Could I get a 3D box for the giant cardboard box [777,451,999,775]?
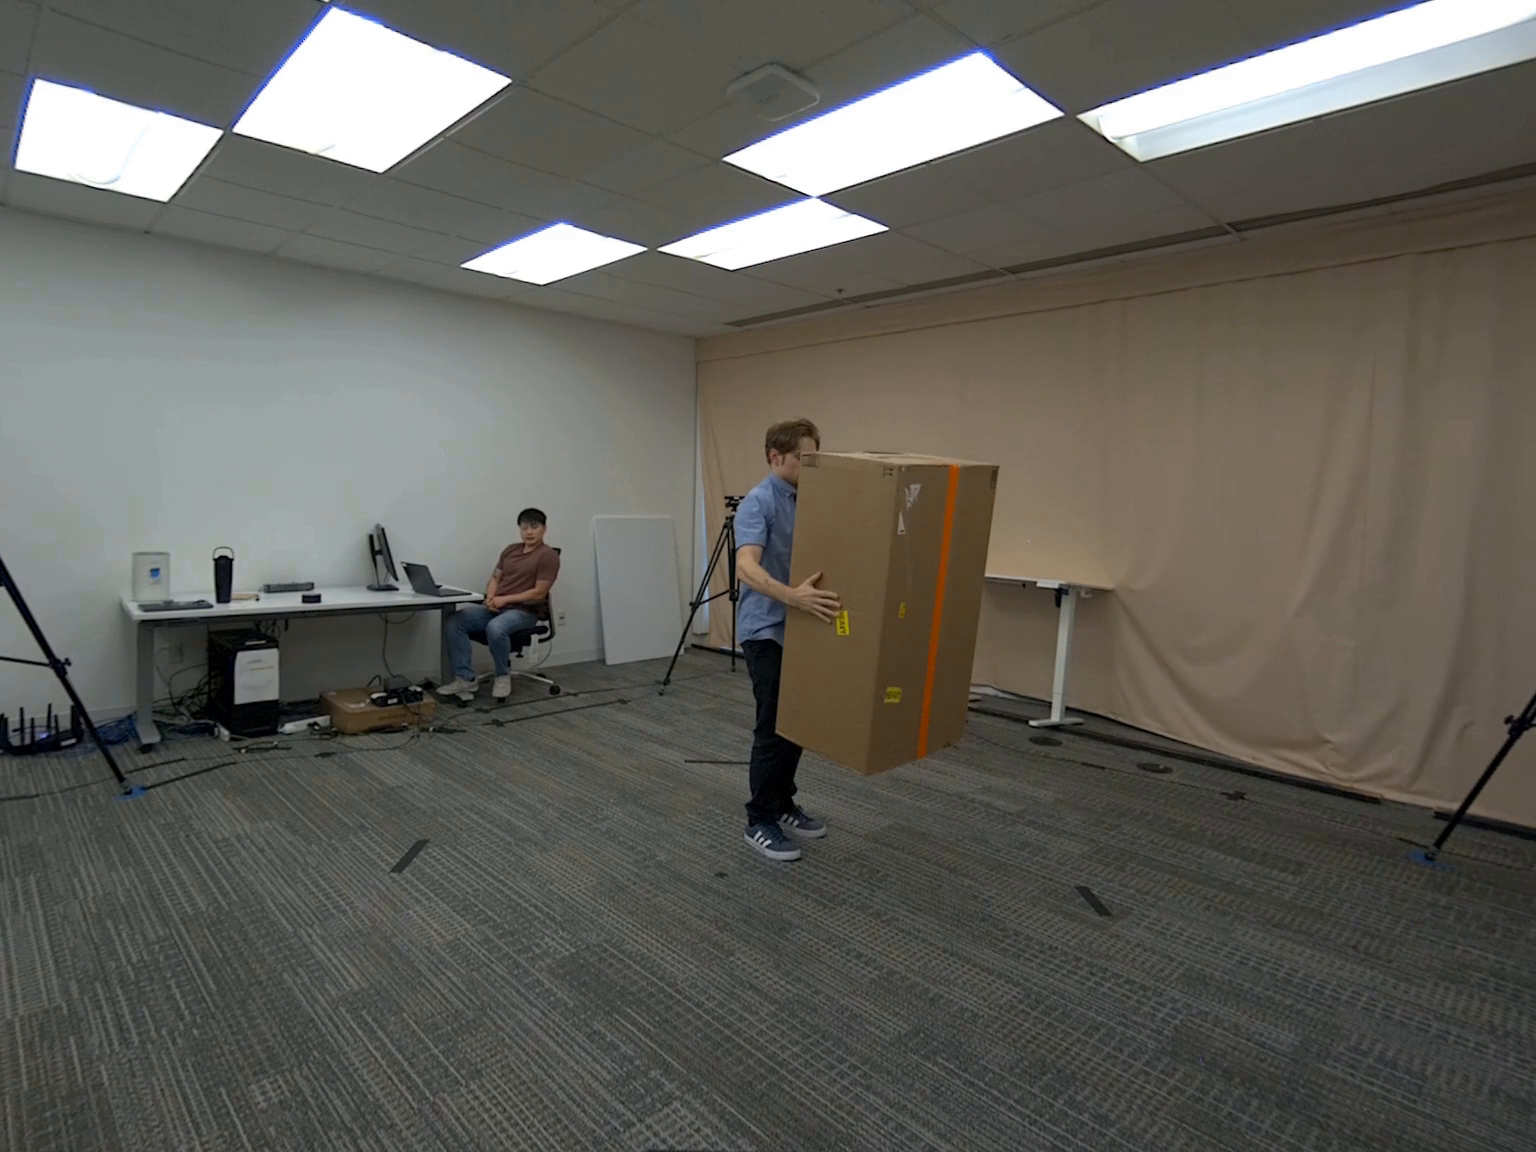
[{"bbox_3d":[0.419,0.089,2.975,0.565,1.019,0.438,-5,14,-42],"label":"giant cardboard box"}]
